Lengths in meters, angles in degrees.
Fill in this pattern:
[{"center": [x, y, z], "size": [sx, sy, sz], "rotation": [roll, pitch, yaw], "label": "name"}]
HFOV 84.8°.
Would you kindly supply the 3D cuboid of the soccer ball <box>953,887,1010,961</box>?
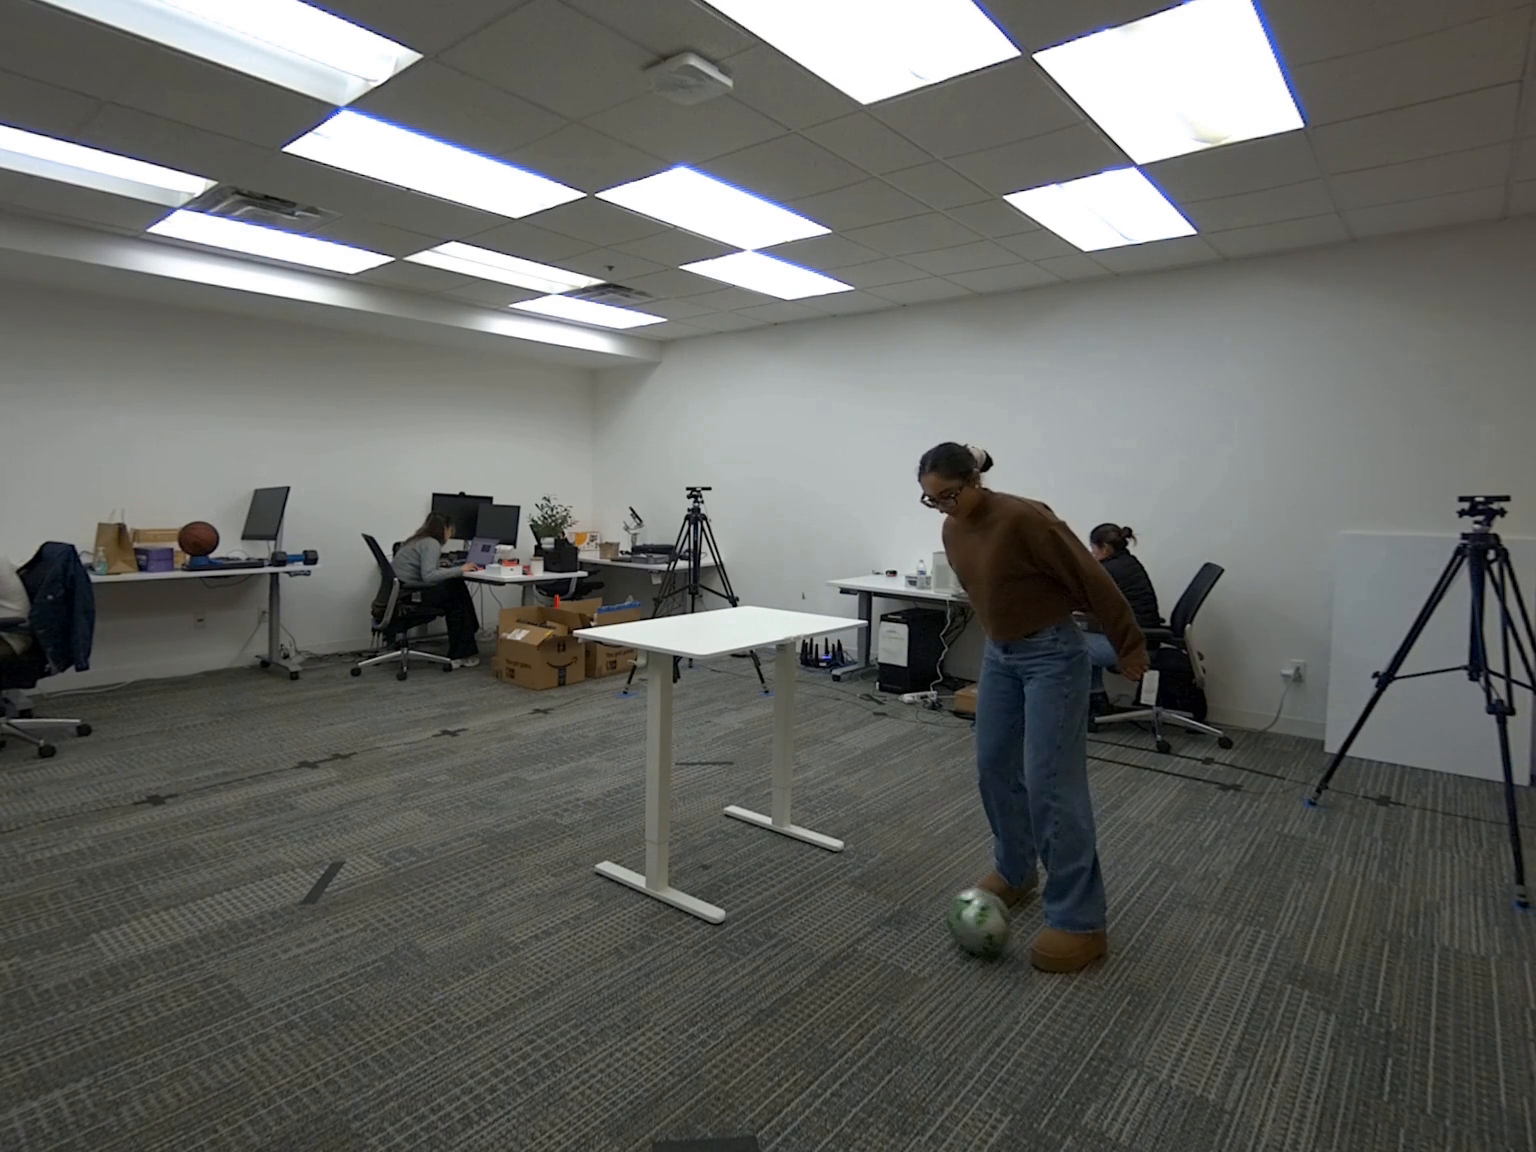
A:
[{"center": [0.716, 1.050, 2.570], "size": [0.187, 0.187, 0.188], "rotation": [1, 4, -2], "label": "soccer ball"}]
